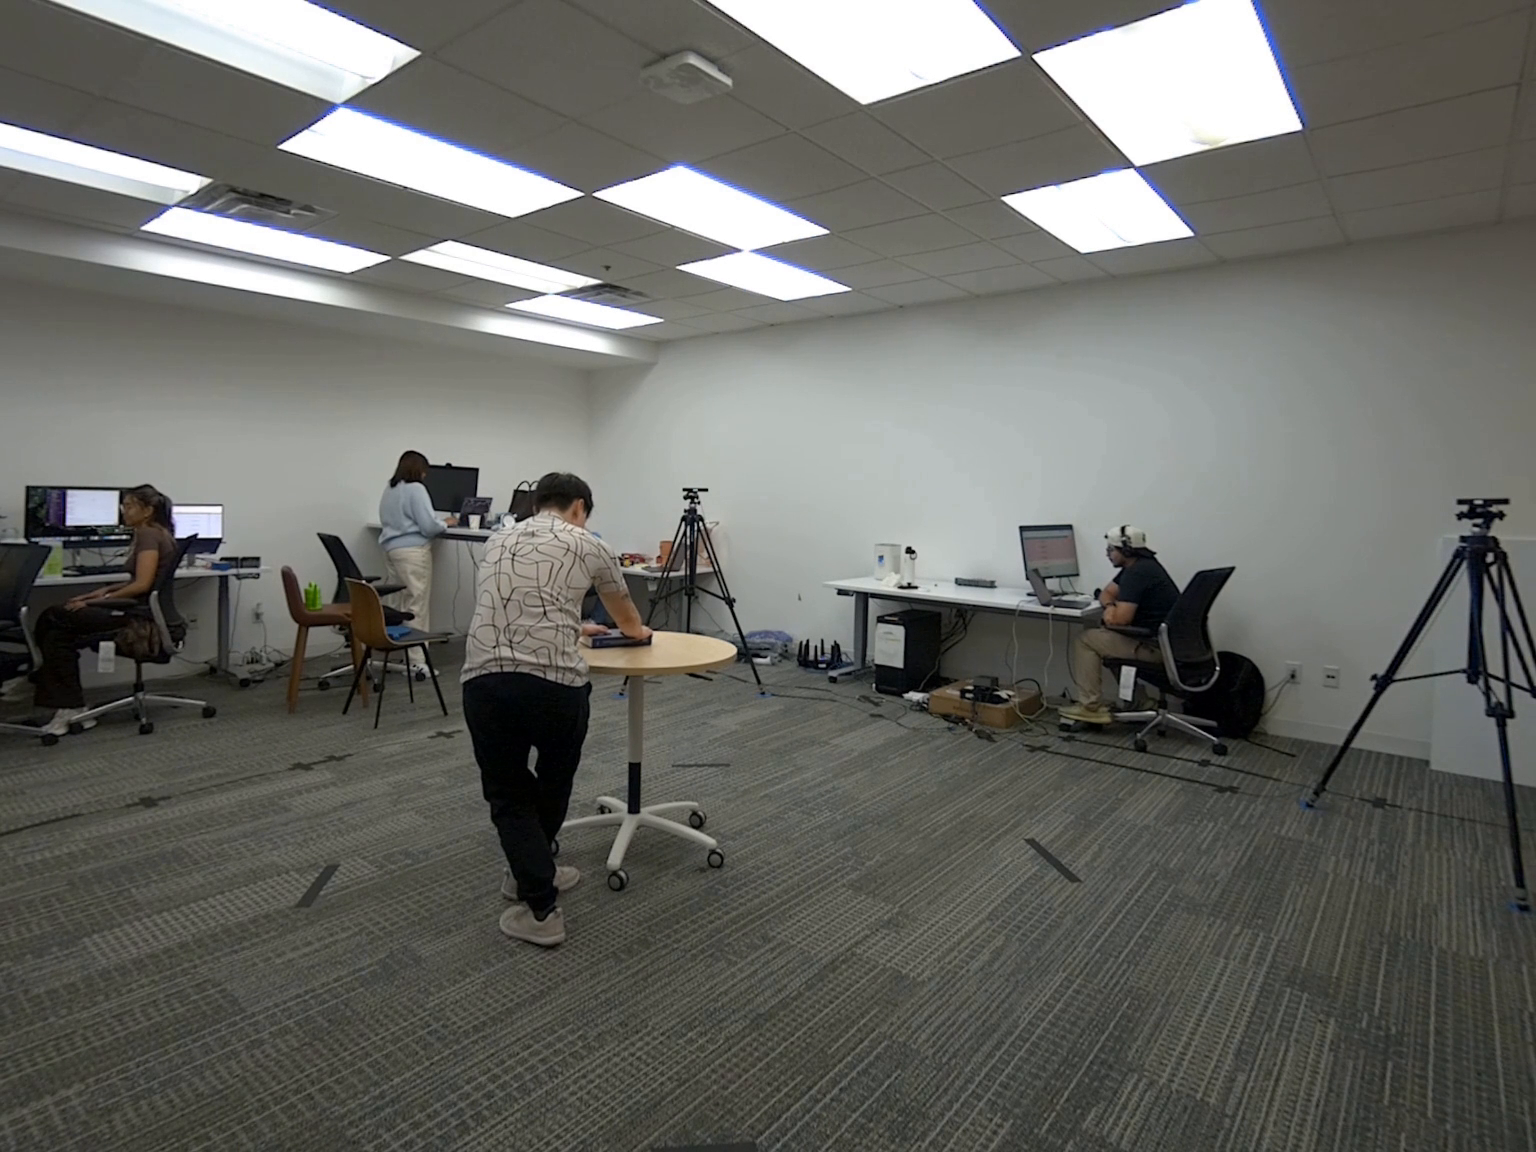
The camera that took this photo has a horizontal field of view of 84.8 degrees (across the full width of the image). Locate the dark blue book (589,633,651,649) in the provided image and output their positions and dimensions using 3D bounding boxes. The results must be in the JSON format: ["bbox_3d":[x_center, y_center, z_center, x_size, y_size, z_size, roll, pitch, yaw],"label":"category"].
[{"bbox_3d":[-0.608,0.244,3.316,0.239,0.045,0.168,-1,6,-24],"label":"dark blue book"}]
